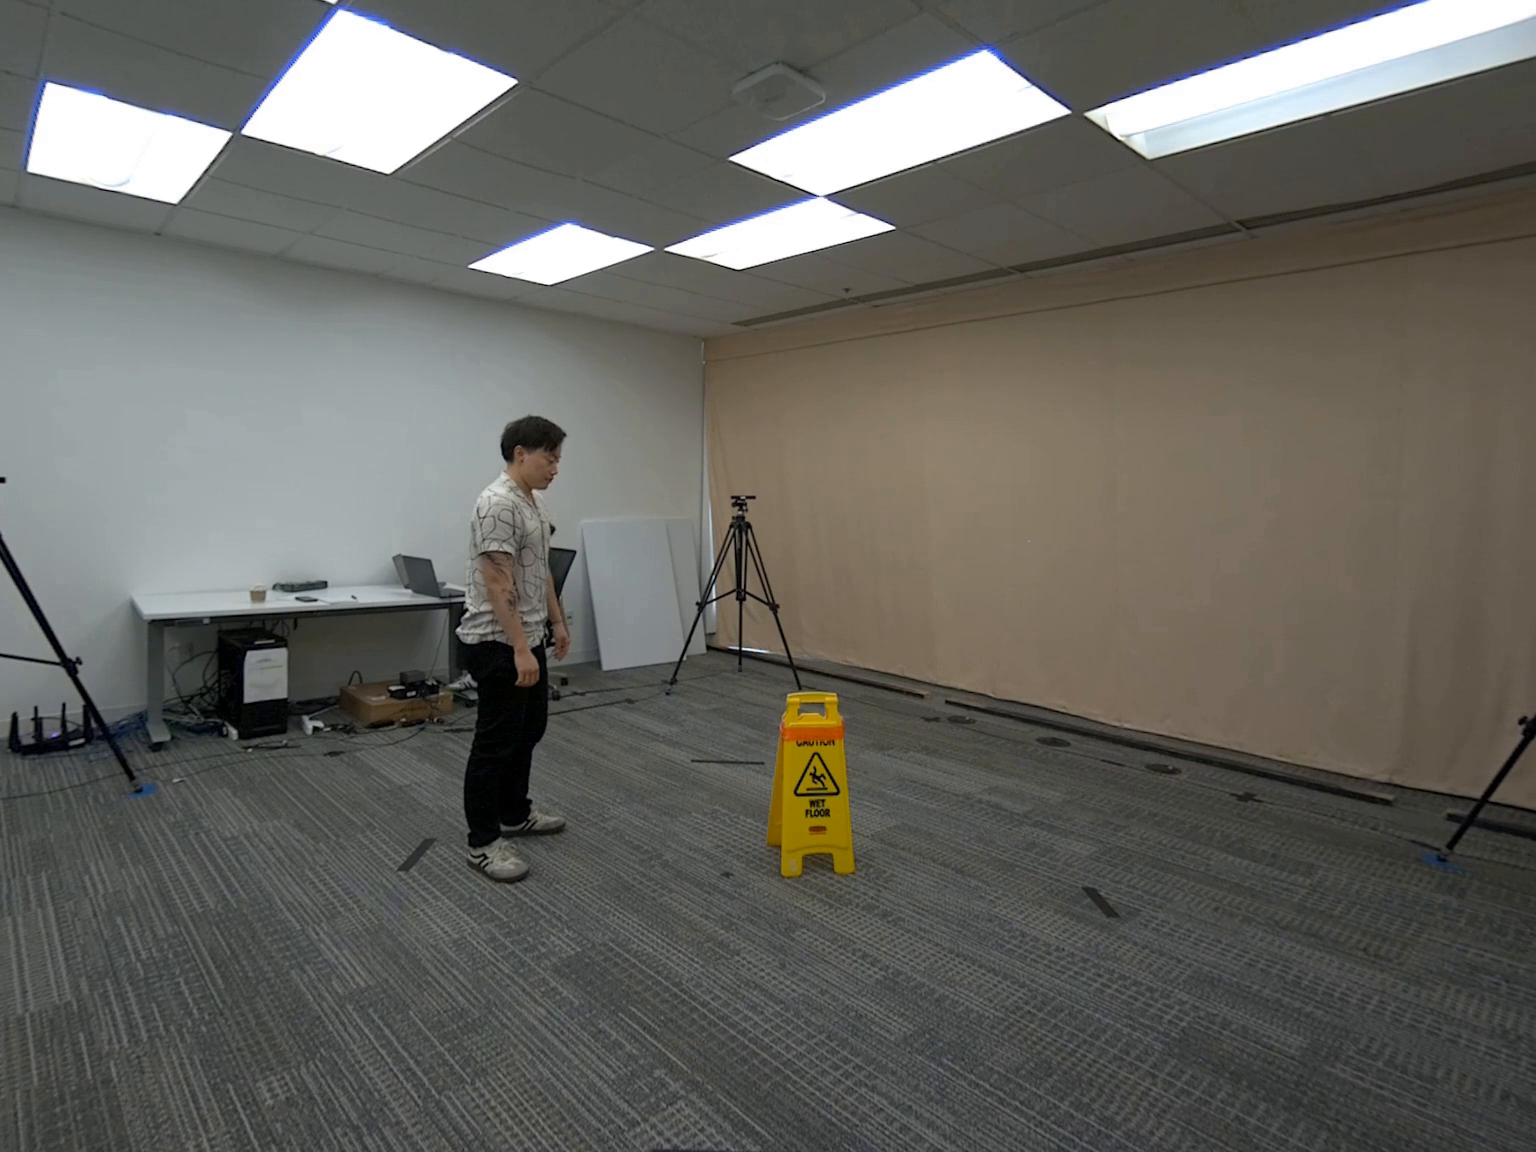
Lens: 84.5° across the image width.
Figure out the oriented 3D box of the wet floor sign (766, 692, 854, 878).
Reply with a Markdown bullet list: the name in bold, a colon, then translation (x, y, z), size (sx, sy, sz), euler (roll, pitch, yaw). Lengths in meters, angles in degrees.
- **wet floor sign**: translation (0.155, 0.768, 3.245), size (0.280, 0.645, 0.293), euler (1, 2, -11)
